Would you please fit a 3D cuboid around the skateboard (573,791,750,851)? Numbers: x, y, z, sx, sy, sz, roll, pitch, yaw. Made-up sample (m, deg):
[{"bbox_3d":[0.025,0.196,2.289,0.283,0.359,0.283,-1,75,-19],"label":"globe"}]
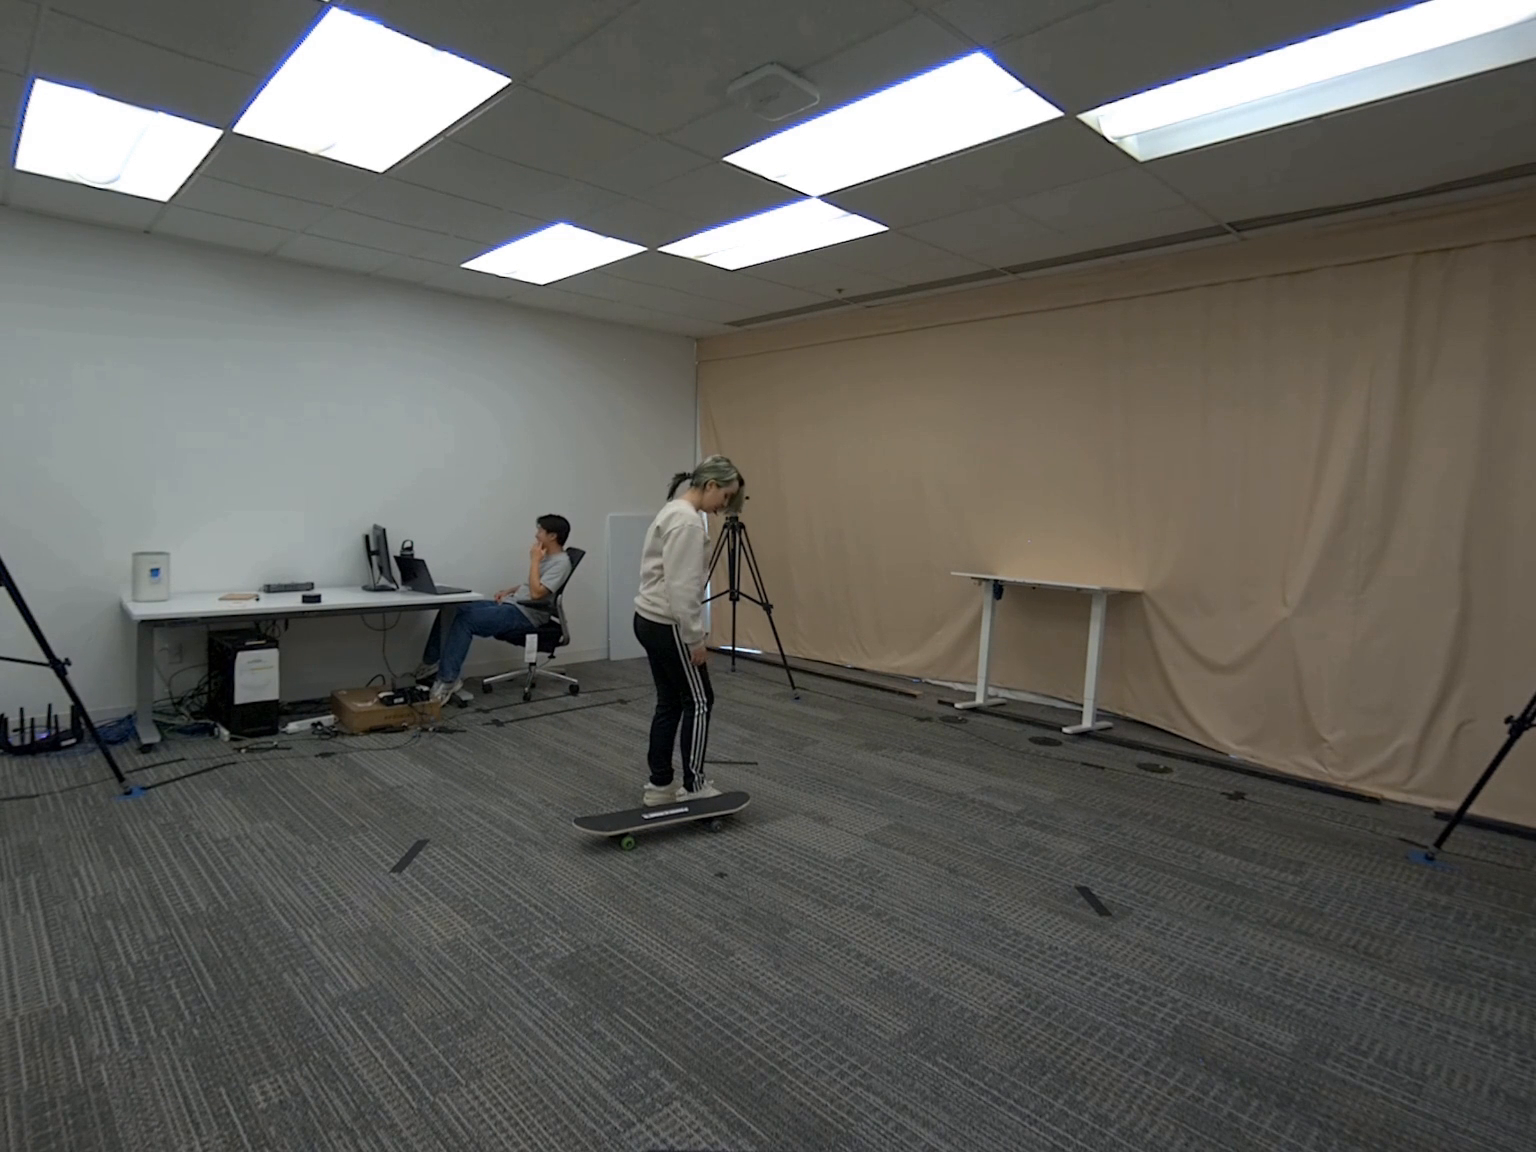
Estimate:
[{"bbox_3d":[-0.428,1.003,3.471,0.769,0.110,0.198,-2,5,-30],"label":"skateboard"}]
